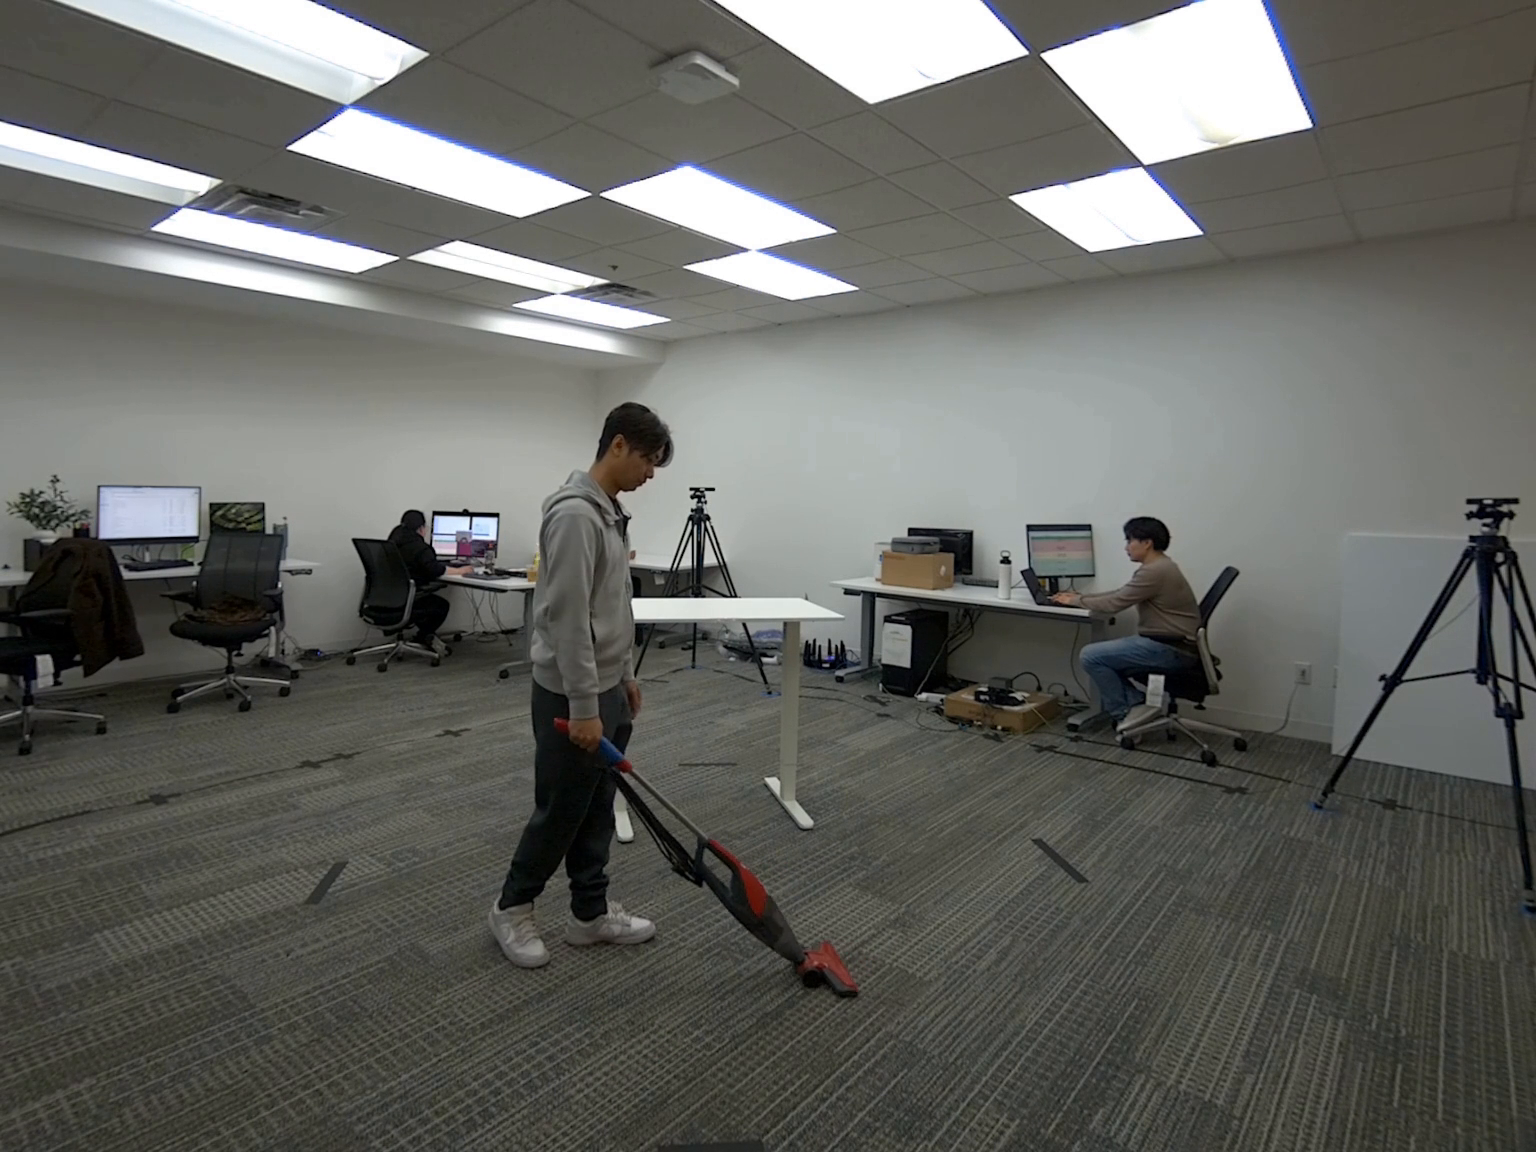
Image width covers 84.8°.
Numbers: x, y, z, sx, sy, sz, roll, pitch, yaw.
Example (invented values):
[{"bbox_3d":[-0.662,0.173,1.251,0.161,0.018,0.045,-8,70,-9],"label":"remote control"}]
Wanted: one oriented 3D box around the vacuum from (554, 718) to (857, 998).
[{"bbox_3d":[-0.204,0.764,2.356,0.144,1.032,0.257,-44,12,-6],"label":"vacuum"}]
